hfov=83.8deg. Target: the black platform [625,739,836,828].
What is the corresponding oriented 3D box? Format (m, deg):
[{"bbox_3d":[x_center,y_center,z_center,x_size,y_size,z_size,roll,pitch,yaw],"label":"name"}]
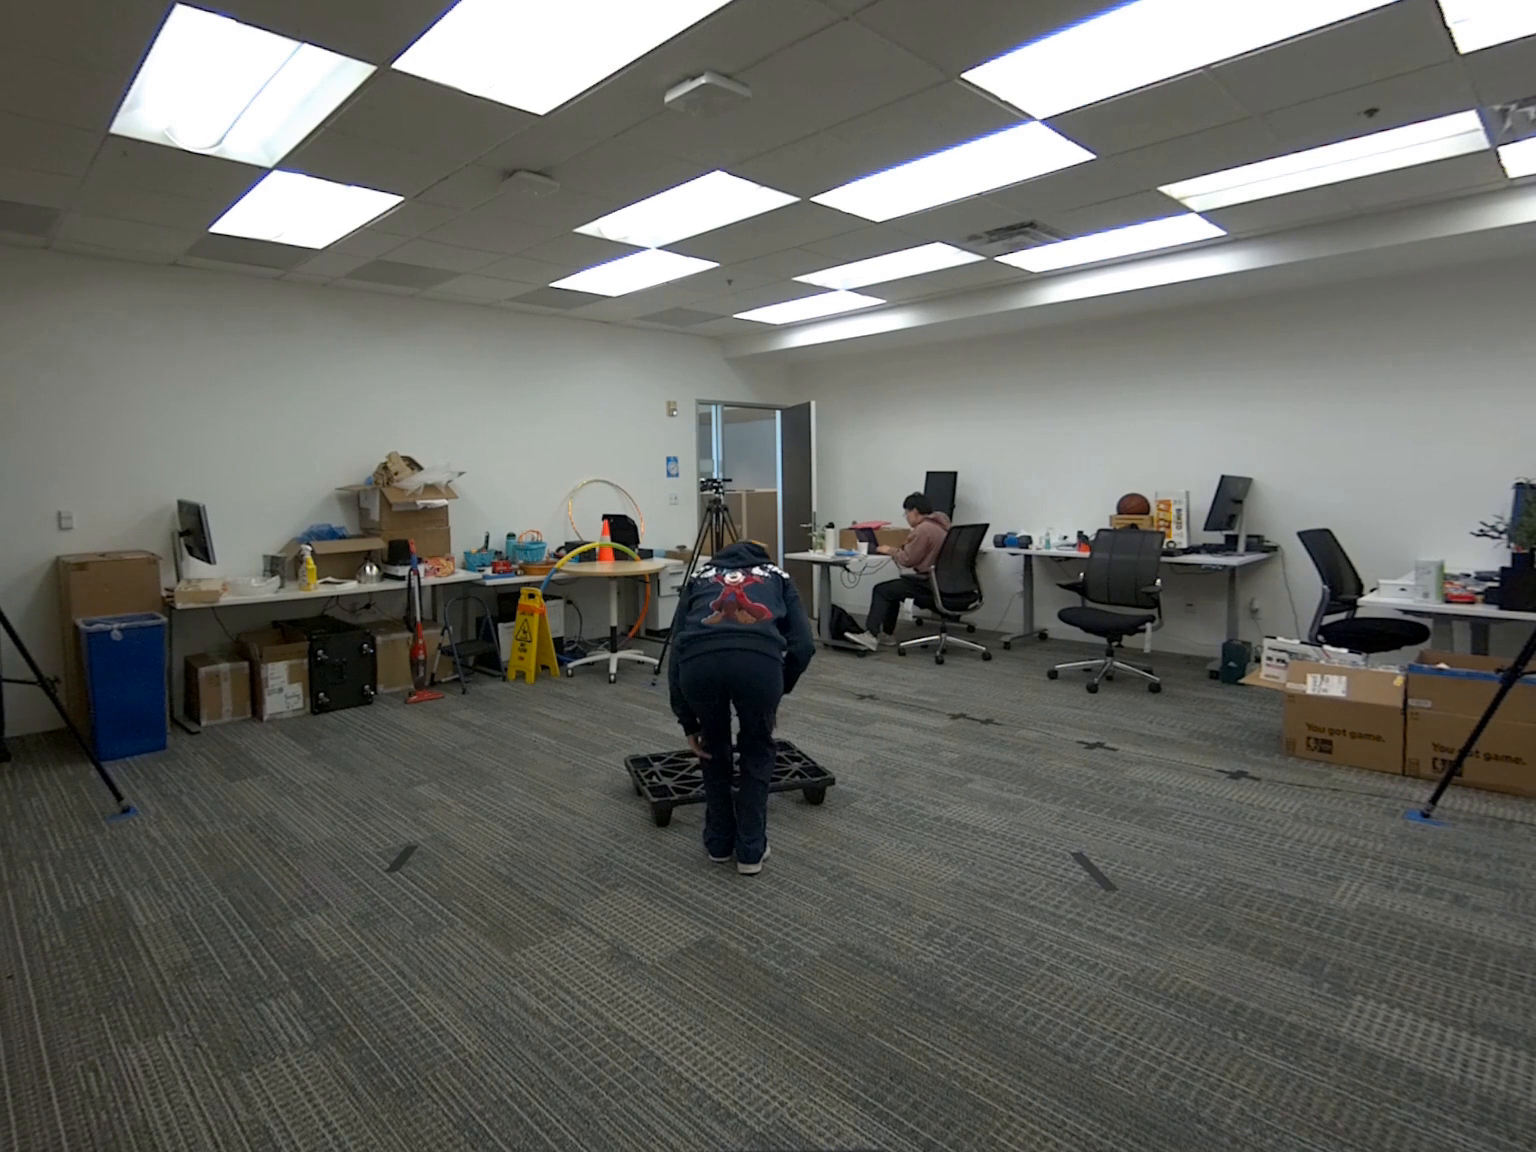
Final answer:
[{"bbox_3d":[-0.180,0.905,3.769,0.793,0.142,0.618,-4,7,-18],"label":"black platform"}]
